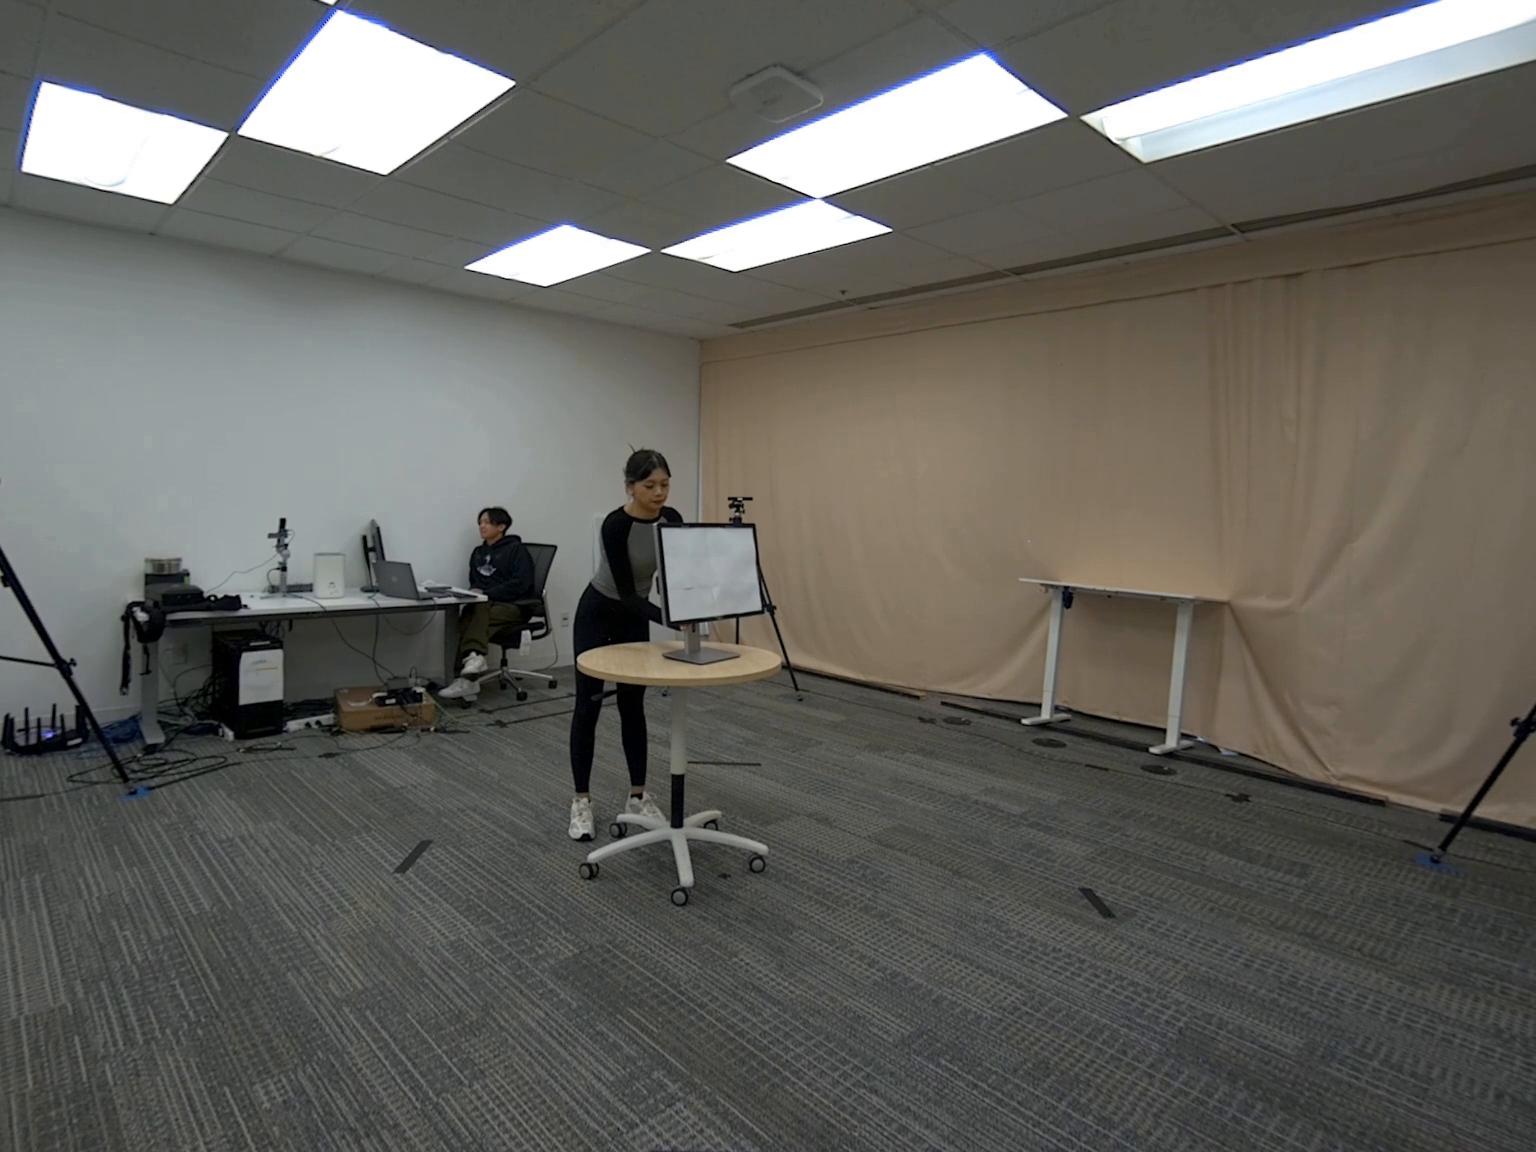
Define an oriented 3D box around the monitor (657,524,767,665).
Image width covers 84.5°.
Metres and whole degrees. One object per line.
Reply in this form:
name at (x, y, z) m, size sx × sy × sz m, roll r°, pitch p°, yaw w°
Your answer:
monitor at (-0.245, 0.062, 3.159) m, size 0.179 × 0.514 × 0.518 m, roll 15°, pitch 9°, yaw 36°
